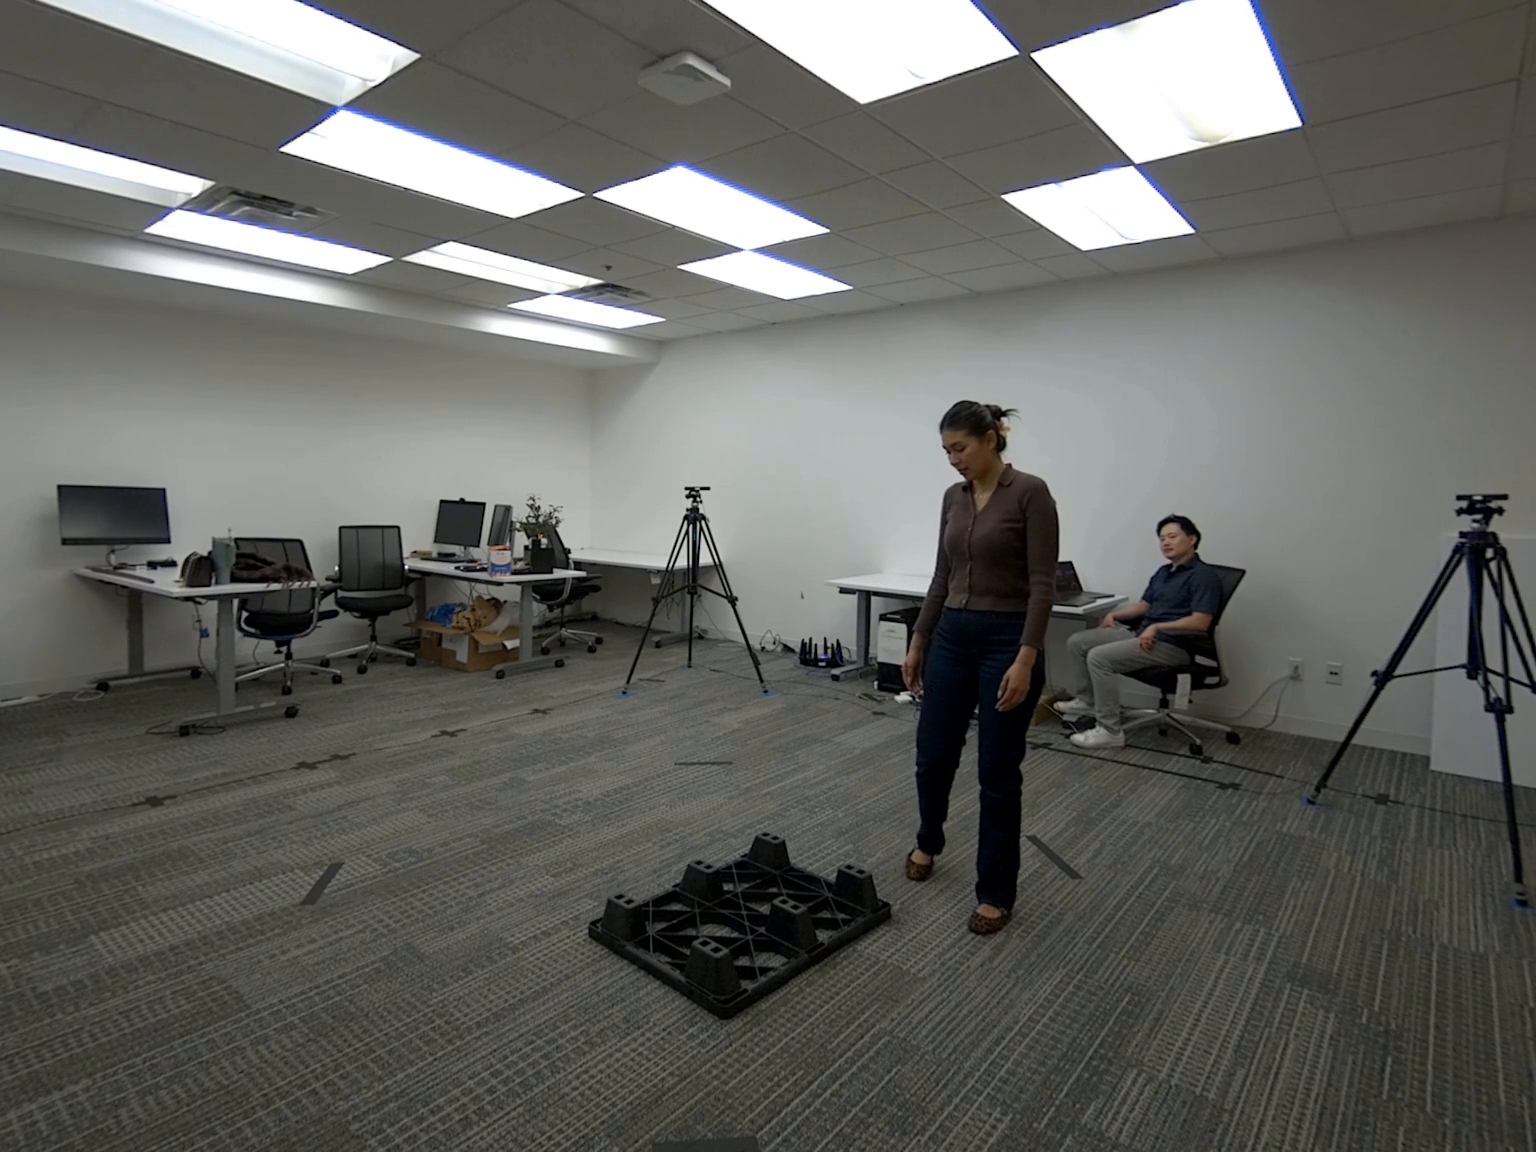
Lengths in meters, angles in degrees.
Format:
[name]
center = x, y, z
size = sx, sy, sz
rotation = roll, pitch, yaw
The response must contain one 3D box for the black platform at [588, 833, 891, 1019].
[black platform]
center = -0.082, 1.040, 2.705
size = 0.626, 0.143, 0.782
rotation = 6, 8, 42
